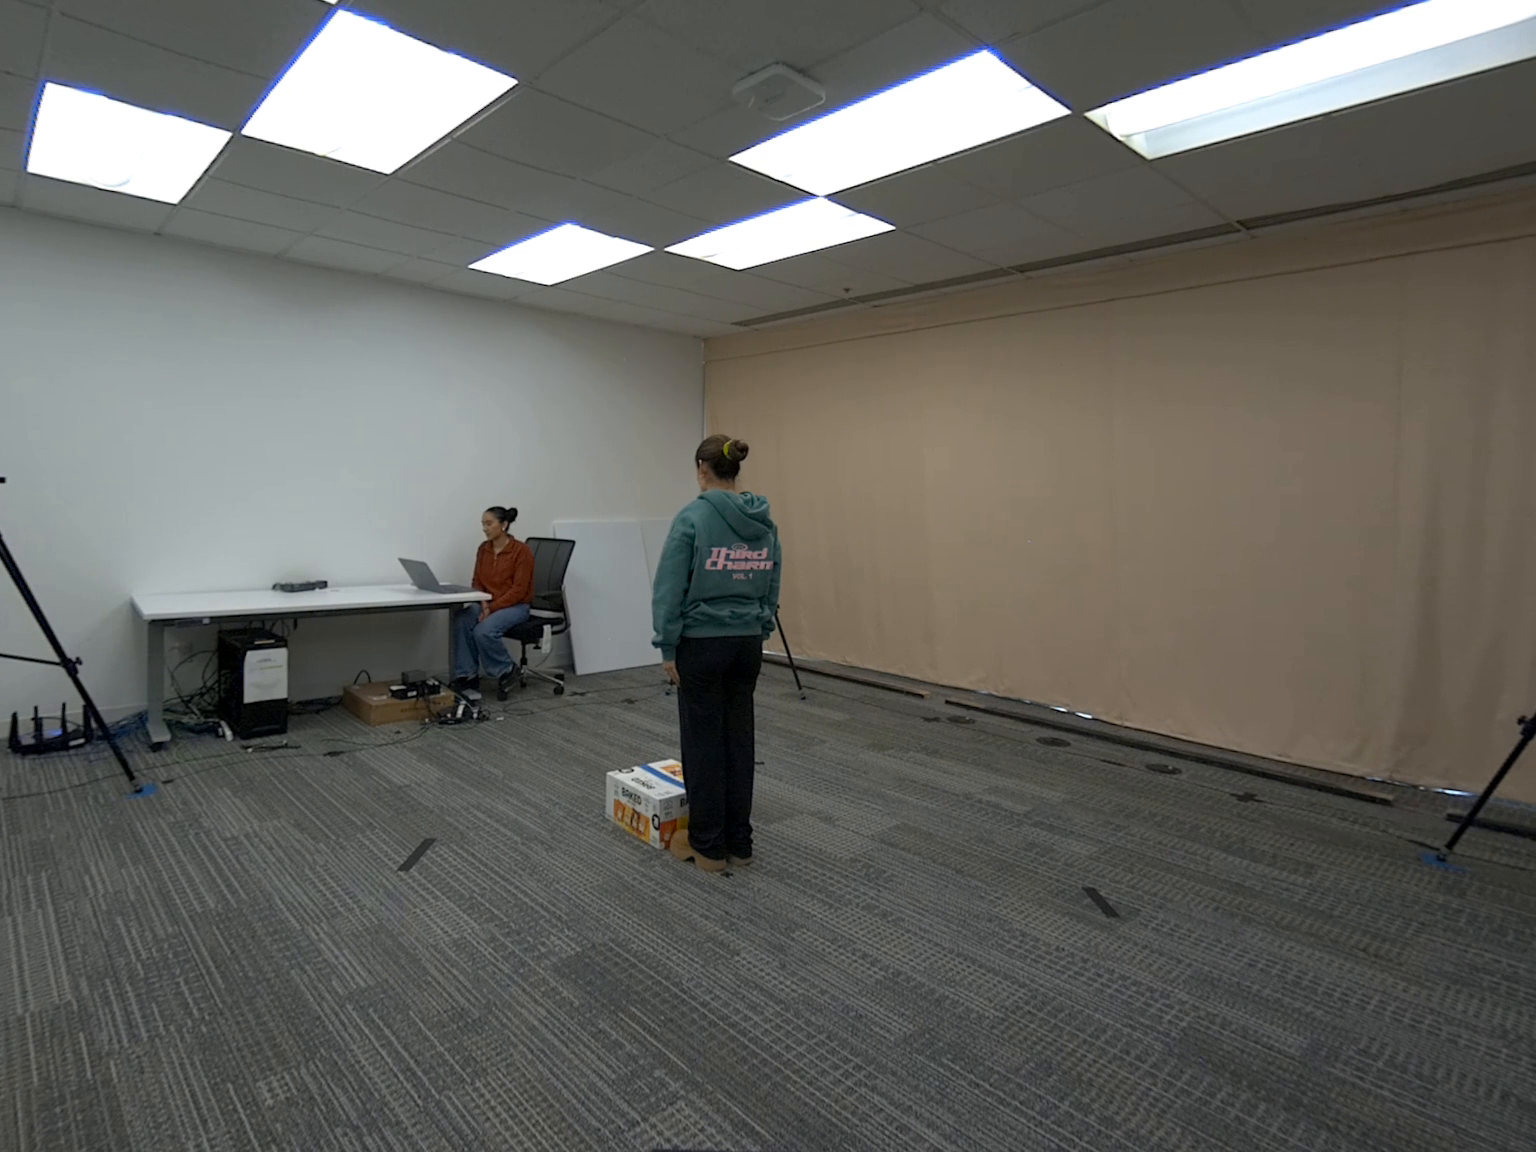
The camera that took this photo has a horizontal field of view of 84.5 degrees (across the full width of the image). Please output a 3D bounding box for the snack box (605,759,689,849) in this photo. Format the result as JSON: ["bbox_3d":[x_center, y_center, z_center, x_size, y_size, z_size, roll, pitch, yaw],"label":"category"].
[{"bbox_3d":[-0.444,0.955,3.560,0.332,0.205,0.415,-2,6,-40],"label":"snack box"}]
